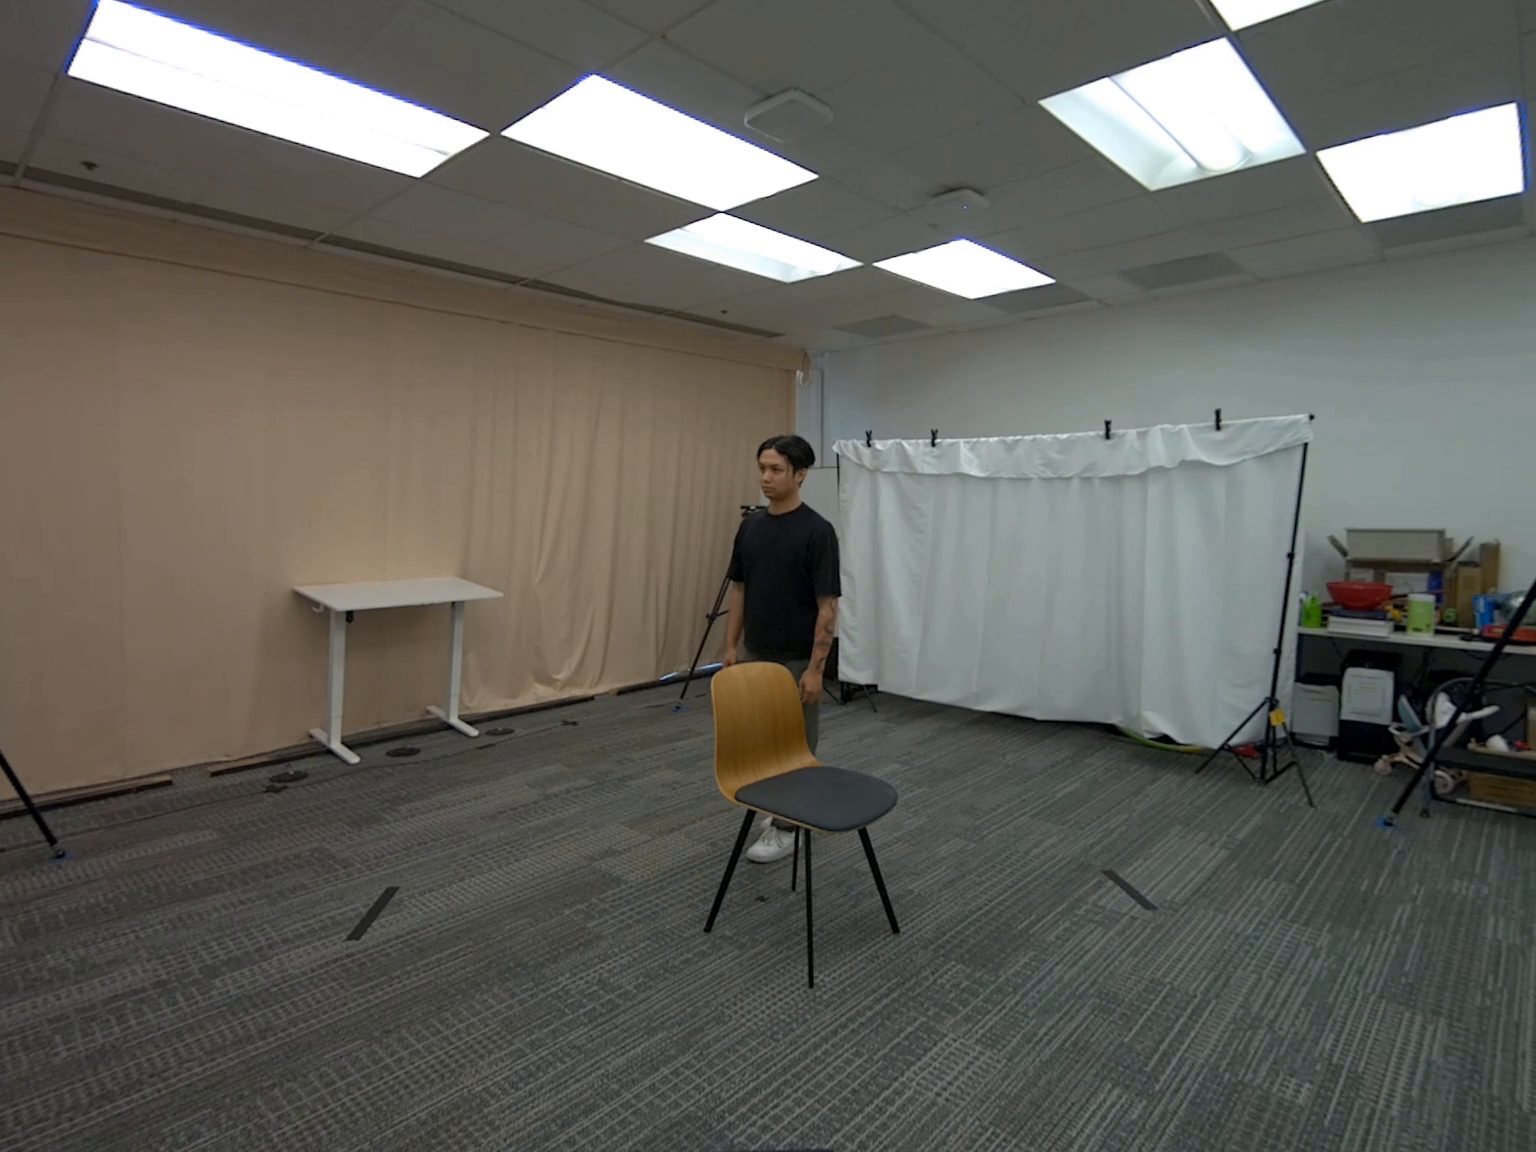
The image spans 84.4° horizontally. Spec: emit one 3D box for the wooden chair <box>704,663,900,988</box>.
[{"bbox_3d":[0.117,0.735,2.707,0.539,0.877,0.463,-3,0,44],"label":"wooden chair"}]
